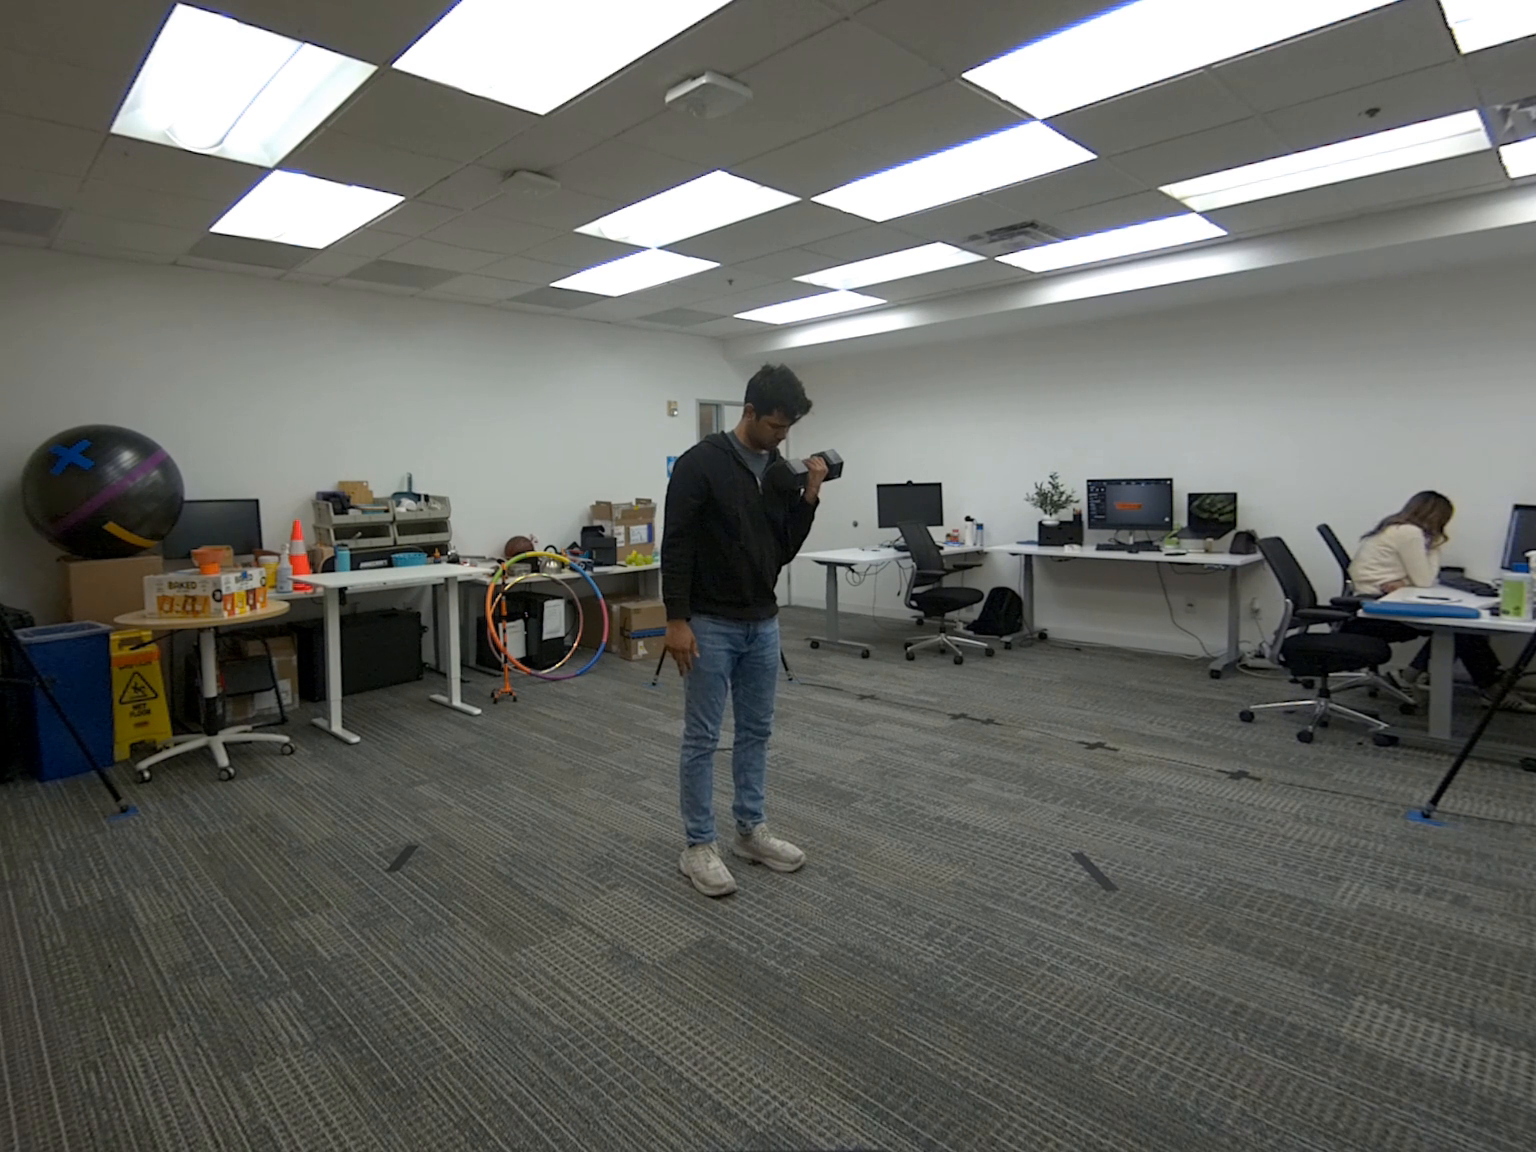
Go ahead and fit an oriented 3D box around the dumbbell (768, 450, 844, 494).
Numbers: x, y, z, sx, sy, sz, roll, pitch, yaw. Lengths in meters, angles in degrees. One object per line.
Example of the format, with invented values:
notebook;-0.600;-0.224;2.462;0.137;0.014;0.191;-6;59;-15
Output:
dumbbell;0.156;-0.355;2.983;0.288;0.125;0.108;-20;-22;-44
